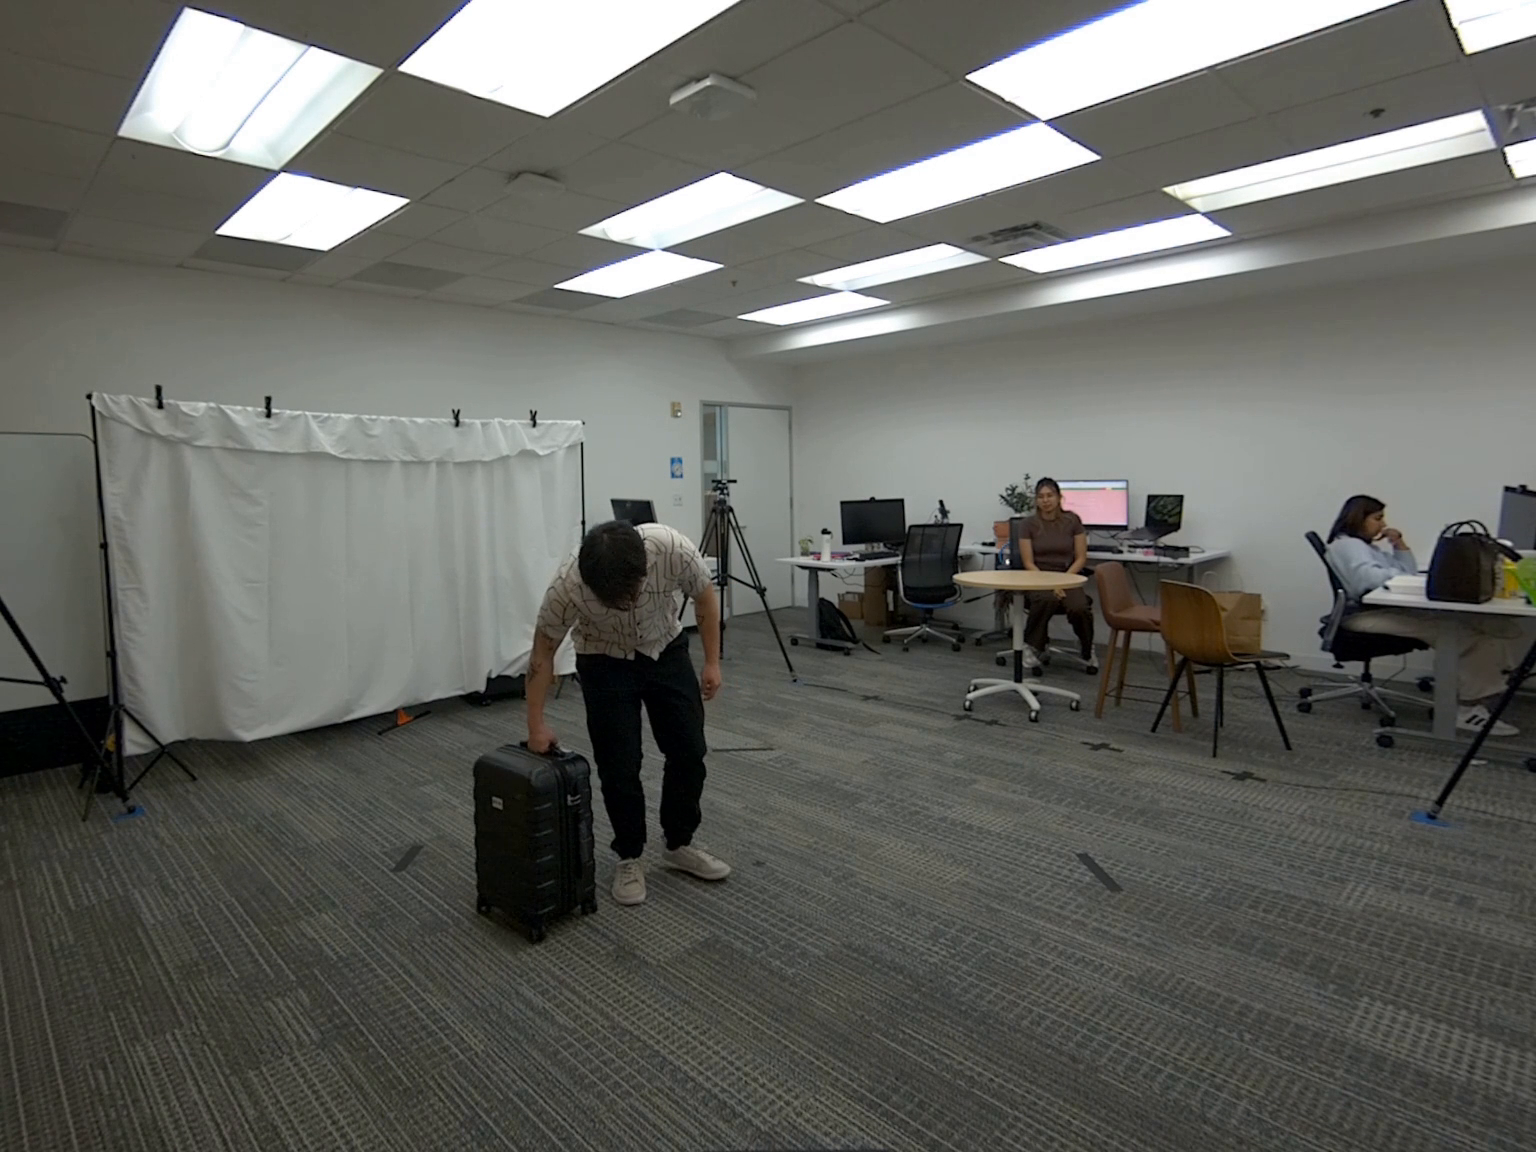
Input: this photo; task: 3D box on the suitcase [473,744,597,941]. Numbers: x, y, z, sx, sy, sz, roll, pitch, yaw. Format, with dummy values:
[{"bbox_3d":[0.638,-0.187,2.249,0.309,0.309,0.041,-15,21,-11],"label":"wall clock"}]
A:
[{"bbox_3d":[-0.758,0.829,2.751,0.387,0.547,0.242,4,7,40],"label":"suitcase"}]
